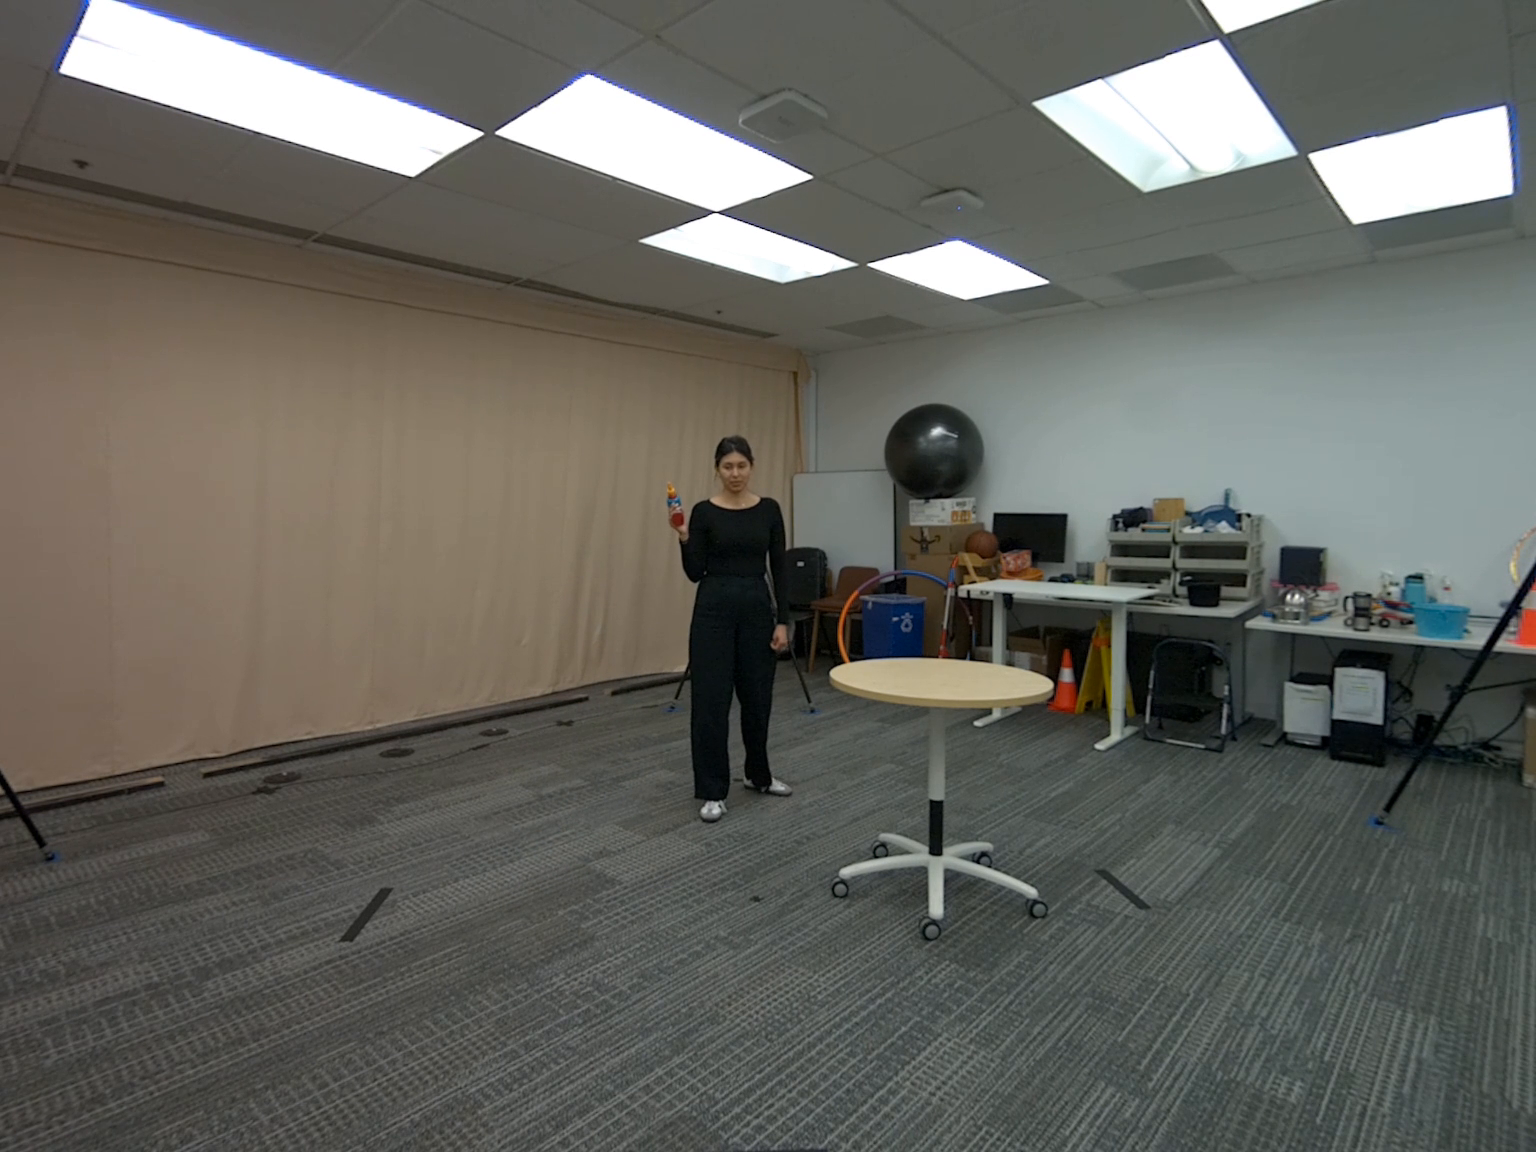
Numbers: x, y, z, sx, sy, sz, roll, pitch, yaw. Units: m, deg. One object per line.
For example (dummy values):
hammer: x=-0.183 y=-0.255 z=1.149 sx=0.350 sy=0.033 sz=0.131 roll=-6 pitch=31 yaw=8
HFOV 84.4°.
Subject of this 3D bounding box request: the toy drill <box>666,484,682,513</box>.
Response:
toy drill: x=-0.406 y=-0.317 z=3.670 sx=0.061 sy=0.166 sz=0.149 roll=-8 pitch=36 yaw=-5
